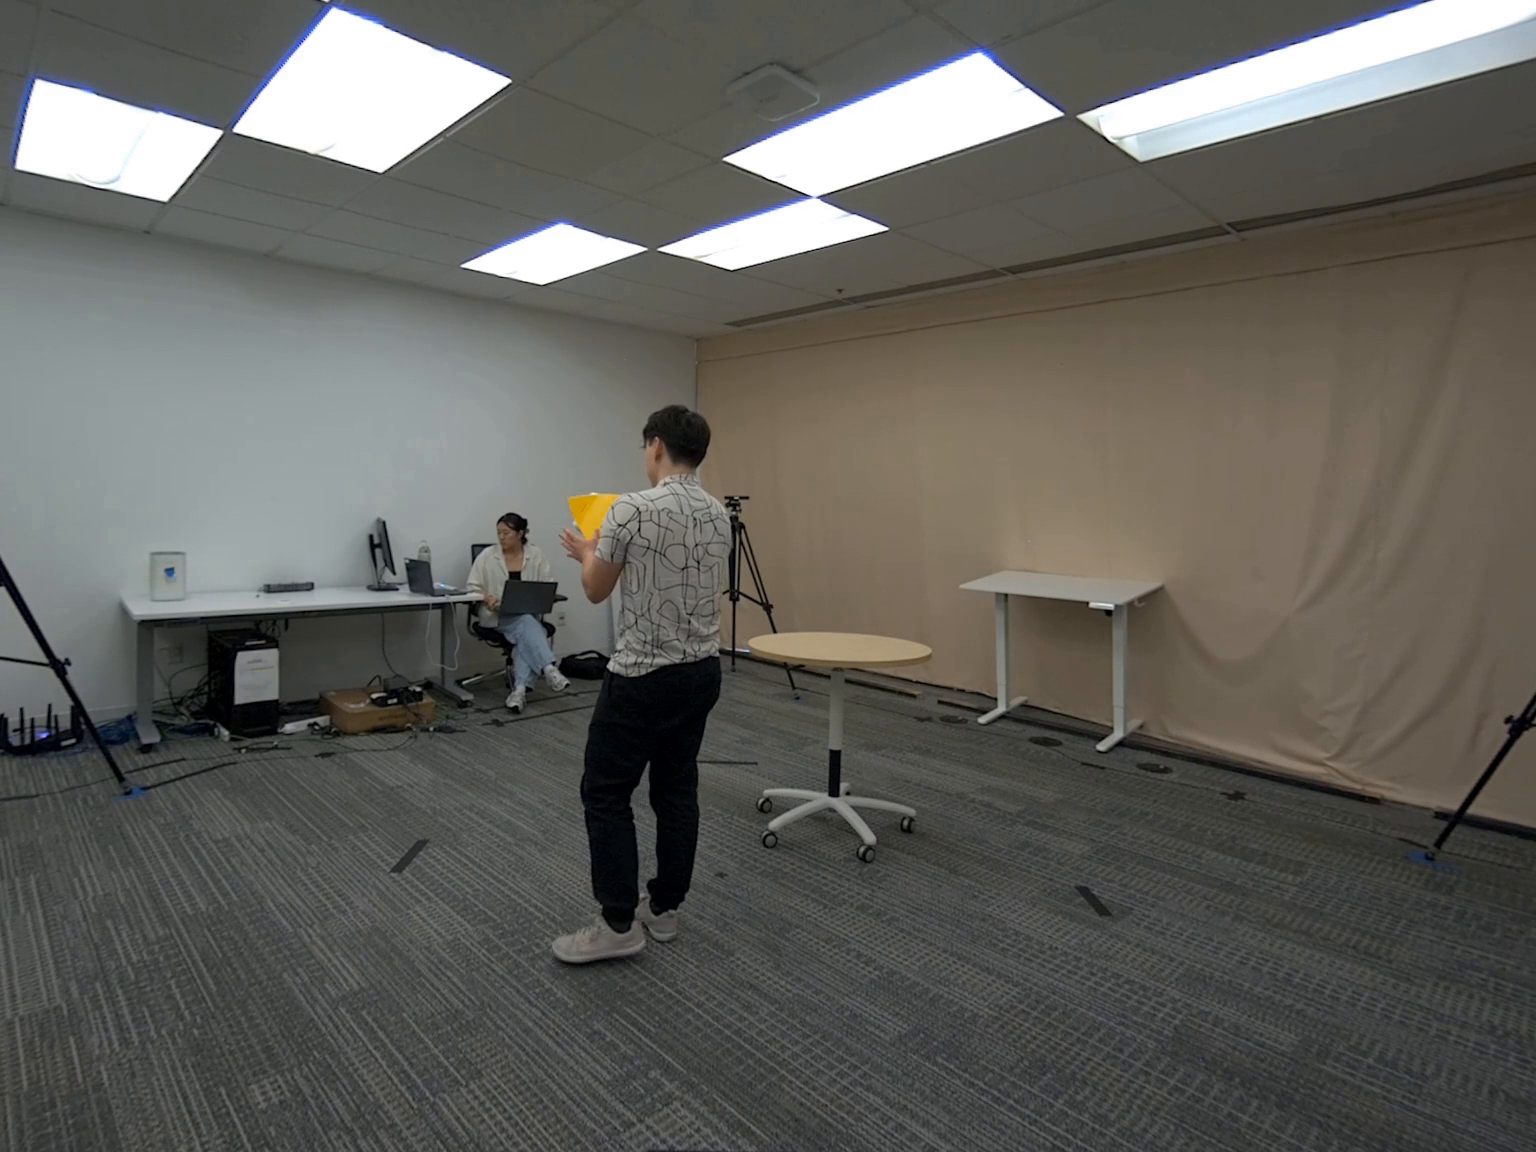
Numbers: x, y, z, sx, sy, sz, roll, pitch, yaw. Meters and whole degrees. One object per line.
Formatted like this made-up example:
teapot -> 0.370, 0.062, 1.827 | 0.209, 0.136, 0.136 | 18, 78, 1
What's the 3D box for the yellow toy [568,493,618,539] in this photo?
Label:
yellow toy -> -0.616, -0.207, 2.946 | 0.227, 0.205, 0.196 | 31, -6, -17
